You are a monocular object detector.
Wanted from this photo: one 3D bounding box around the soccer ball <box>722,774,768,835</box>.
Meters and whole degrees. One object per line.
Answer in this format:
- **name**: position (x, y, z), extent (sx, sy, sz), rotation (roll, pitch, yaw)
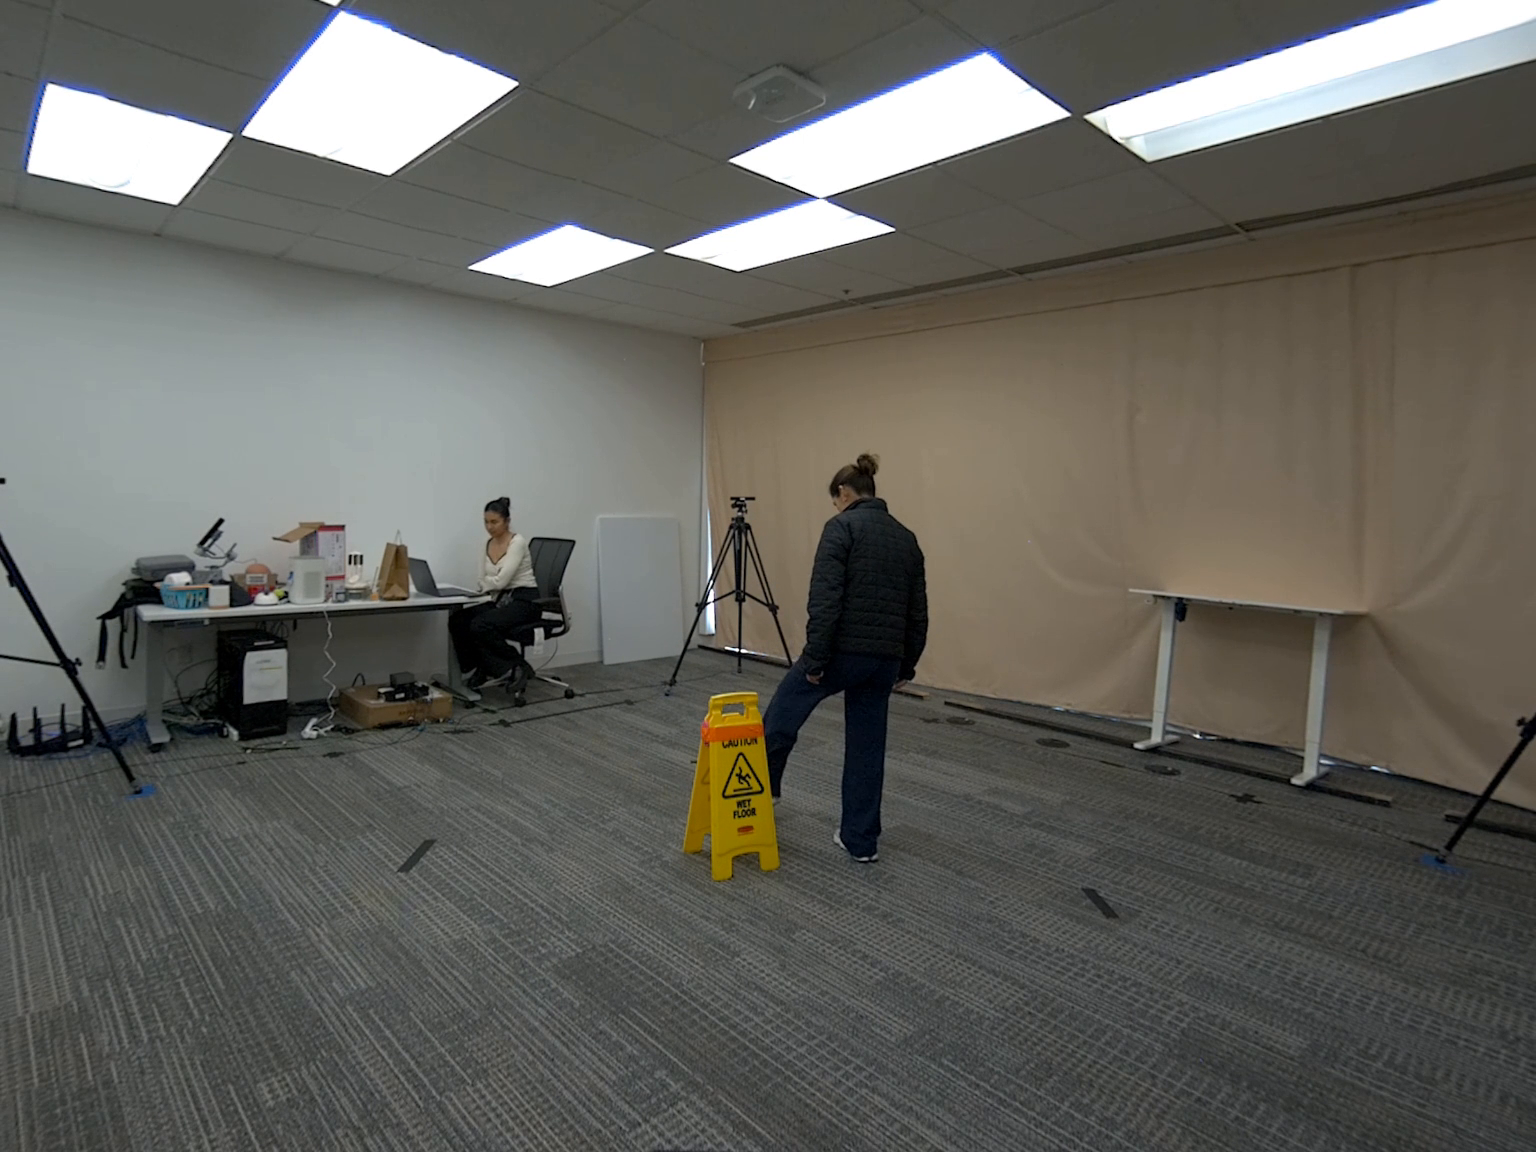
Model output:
- **soccer ball**: position (-0.103, 0.974, 3.624), extent (0.187, 0.187, 0.188), rotation (1, 4, -1)
